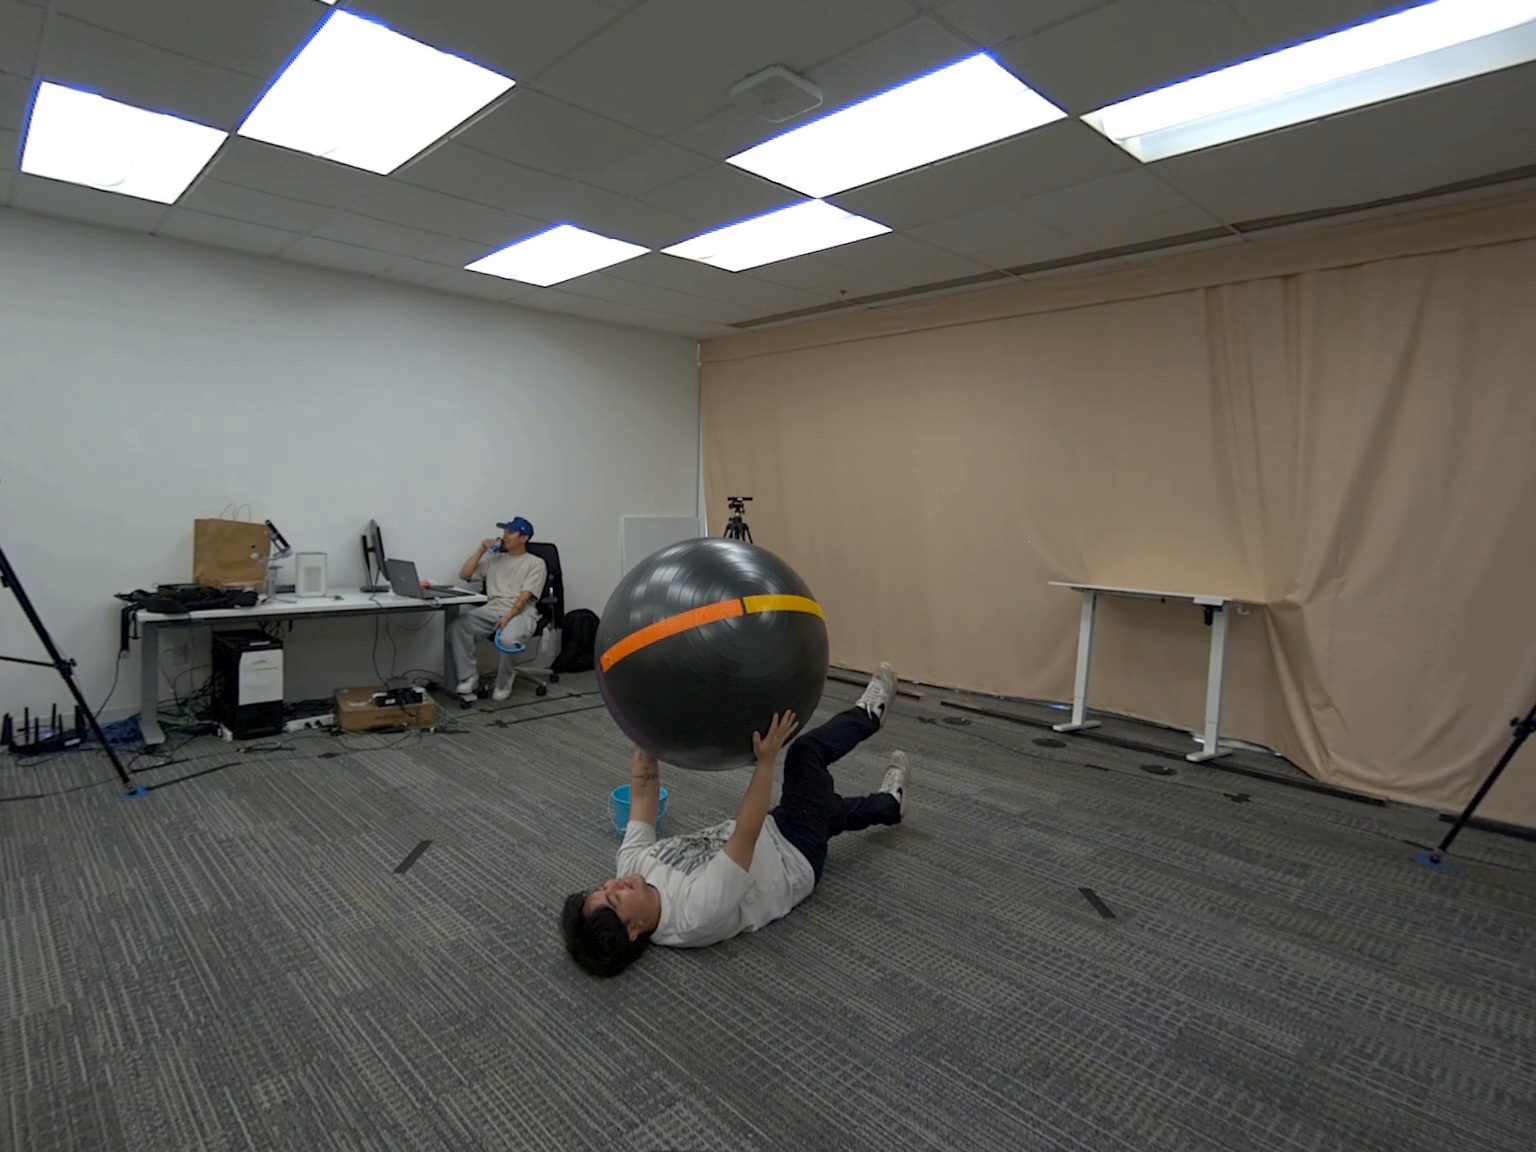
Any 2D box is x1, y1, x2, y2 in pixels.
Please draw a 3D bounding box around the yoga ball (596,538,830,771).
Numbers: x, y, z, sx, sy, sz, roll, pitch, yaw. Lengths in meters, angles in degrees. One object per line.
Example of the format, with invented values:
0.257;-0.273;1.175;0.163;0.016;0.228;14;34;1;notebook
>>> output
-0.187;0.256;2.753;0.757;0.756;0.761;1;4;-1;yoga ball
